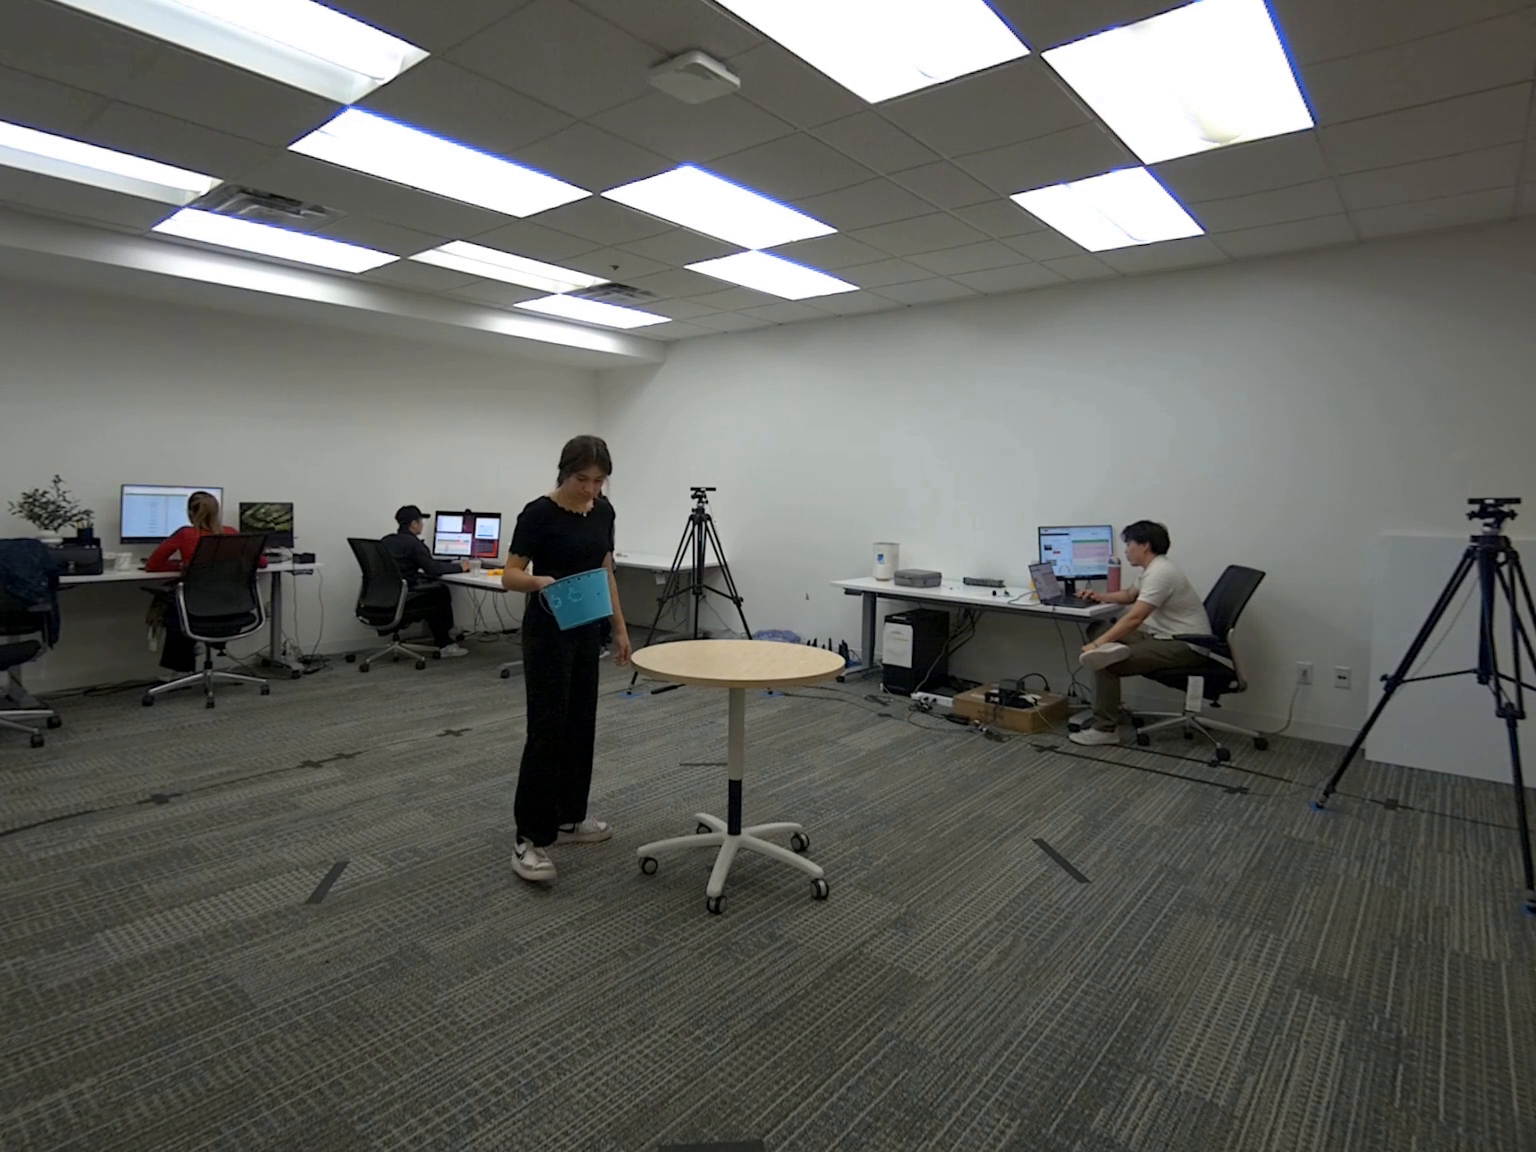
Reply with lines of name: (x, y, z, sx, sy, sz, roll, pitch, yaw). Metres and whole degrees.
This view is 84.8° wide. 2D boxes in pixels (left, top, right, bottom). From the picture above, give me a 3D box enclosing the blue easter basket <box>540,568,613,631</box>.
blue easter basket: (-0.632, 0.077, 2.827, 0.243, 0.156, 0.243, -15, -2, -3)
